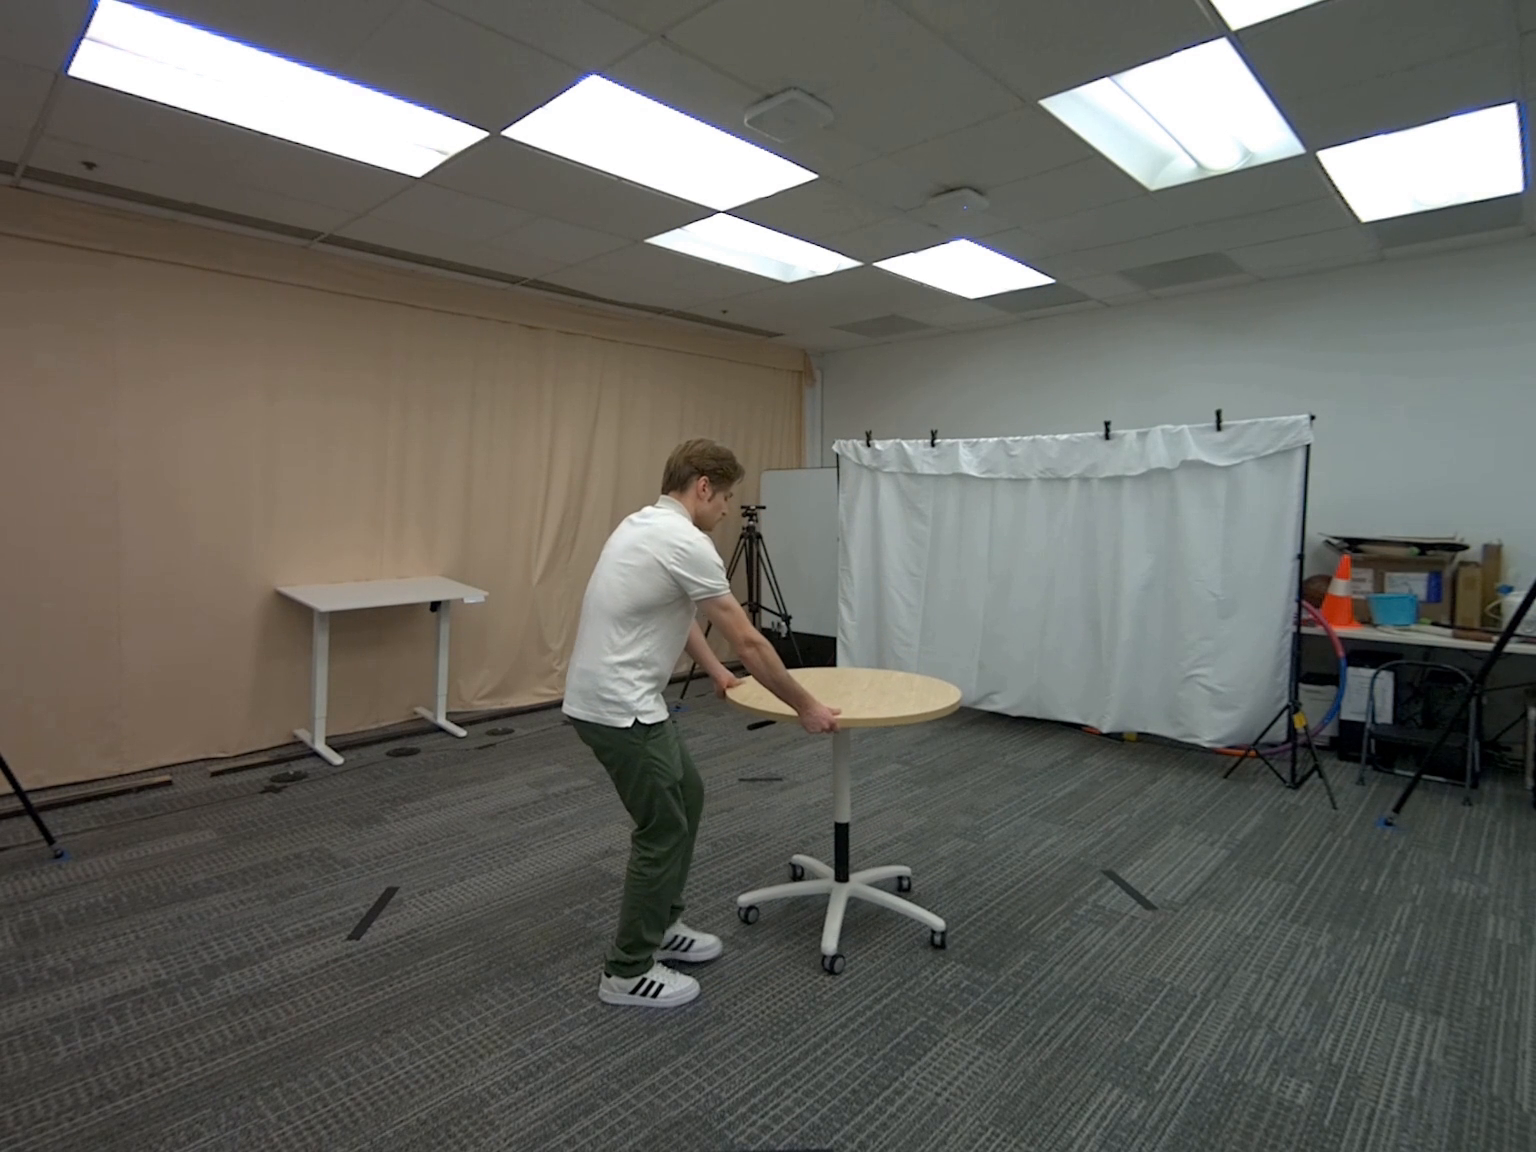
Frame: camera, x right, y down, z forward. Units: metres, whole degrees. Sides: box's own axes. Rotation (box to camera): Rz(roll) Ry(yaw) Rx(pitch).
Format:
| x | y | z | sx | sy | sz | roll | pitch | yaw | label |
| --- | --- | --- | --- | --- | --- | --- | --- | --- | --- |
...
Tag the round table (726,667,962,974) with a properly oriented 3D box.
| x | y | z | sx | sy | sz | roll | pitch | yaw | label |
| --- | --- | --- | --- | --- | --- | --- | --- | --- | --- |
| 0.244 | 0.766 | 2.795 | 0.784 | 0.785 | 0.788 | -1 | 4 | -2 | round table |
